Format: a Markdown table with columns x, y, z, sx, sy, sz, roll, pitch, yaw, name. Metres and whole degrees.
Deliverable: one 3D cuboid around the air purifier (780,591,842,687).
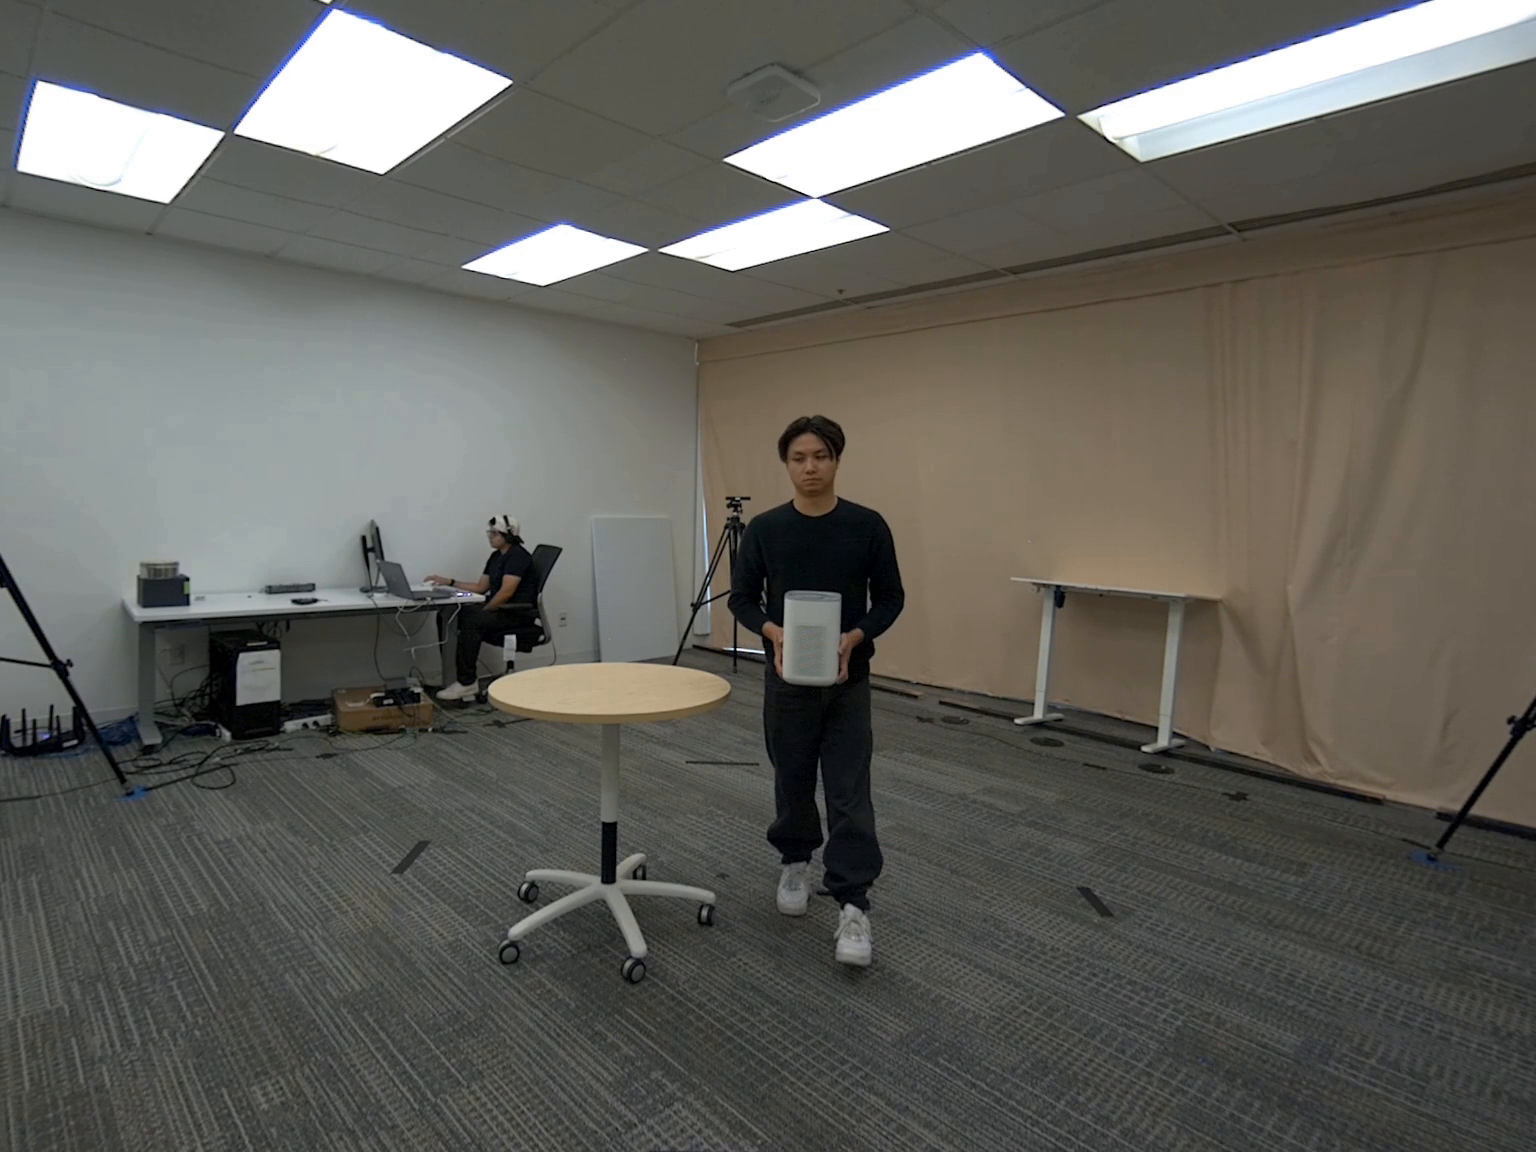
| x | y | z | sx | sy | sz | roll | pitch | yaw | name |
| --- | --- | --- | --- | --- | --- | --- | --- | --- | --- |
| 0.122 | 0.186 | 2.561 | 0.173 | 0.264 | 0.170 | 2 | 5 | 8 | air purifier |
